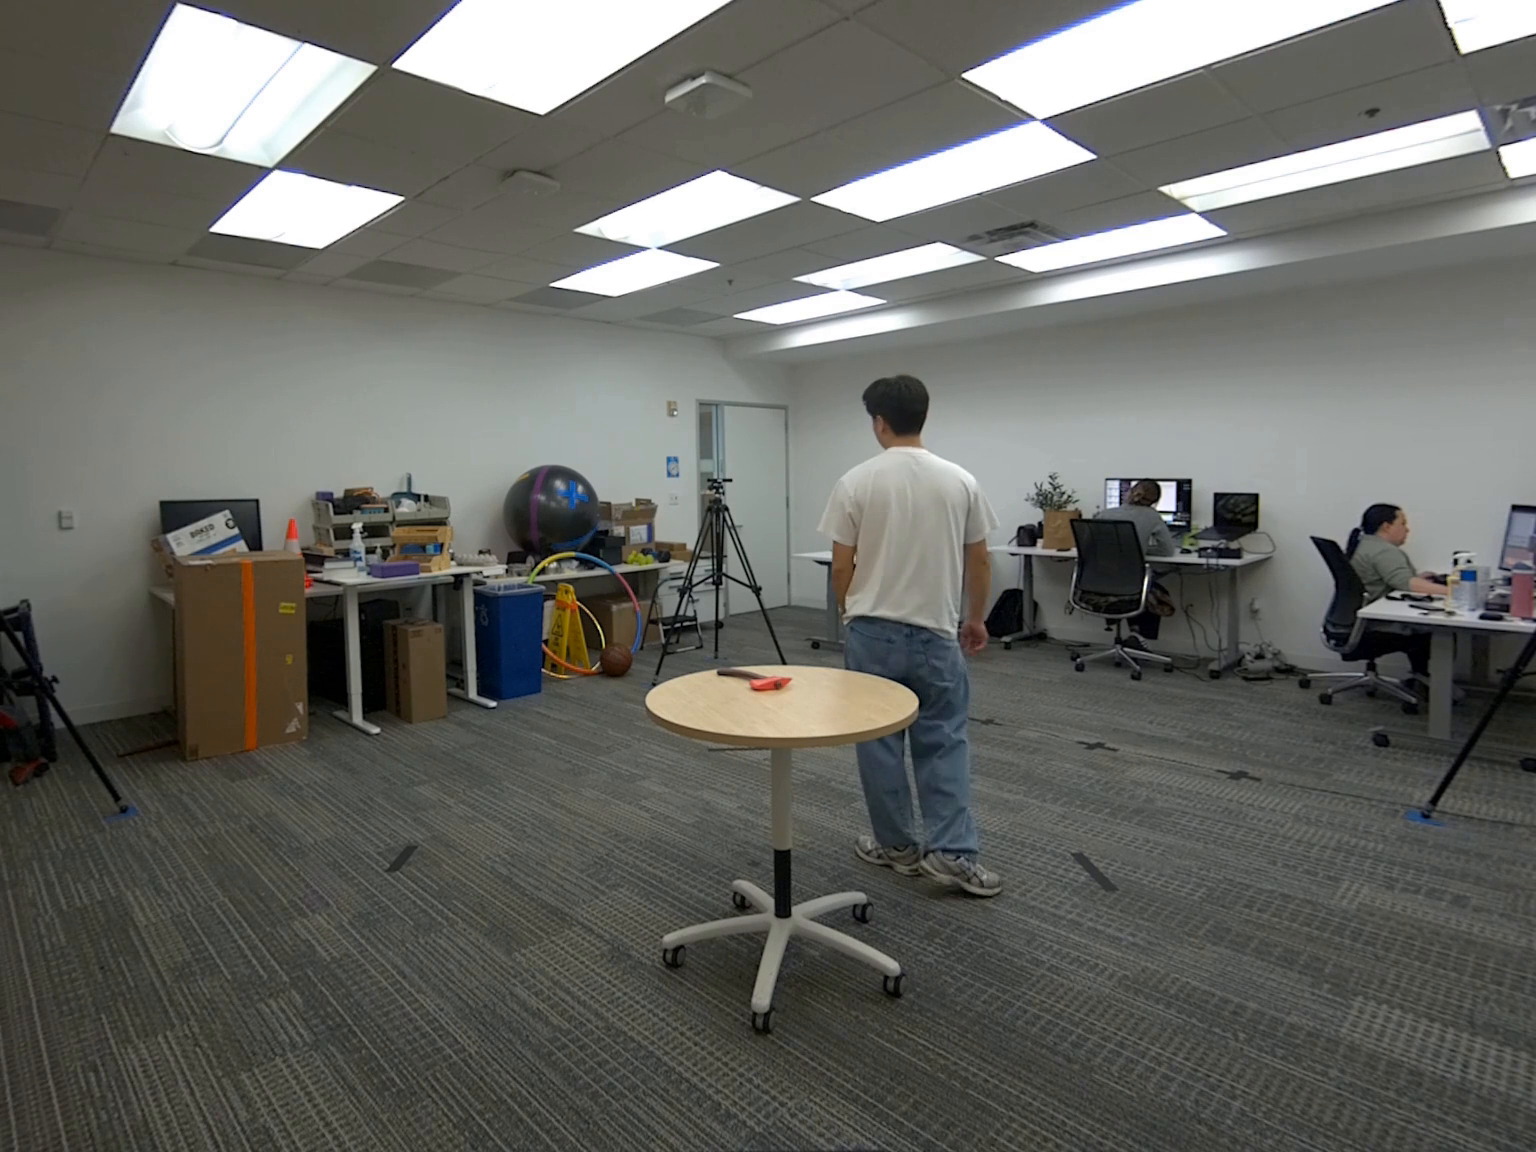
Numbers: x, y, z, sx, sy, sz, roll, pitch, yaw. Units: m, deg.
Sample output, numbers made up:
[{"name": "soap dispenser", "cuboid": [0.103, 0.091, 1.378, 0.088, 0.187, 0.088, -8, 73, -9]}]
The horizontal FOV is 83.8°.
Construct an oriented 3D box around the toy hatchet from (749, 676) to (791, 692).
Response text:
[{"name": "toy hatchet", "cuboid": [-0.060, 0.314, 2.572, 0.278, 0.029, 0.128, 2, 11, 37]}]
